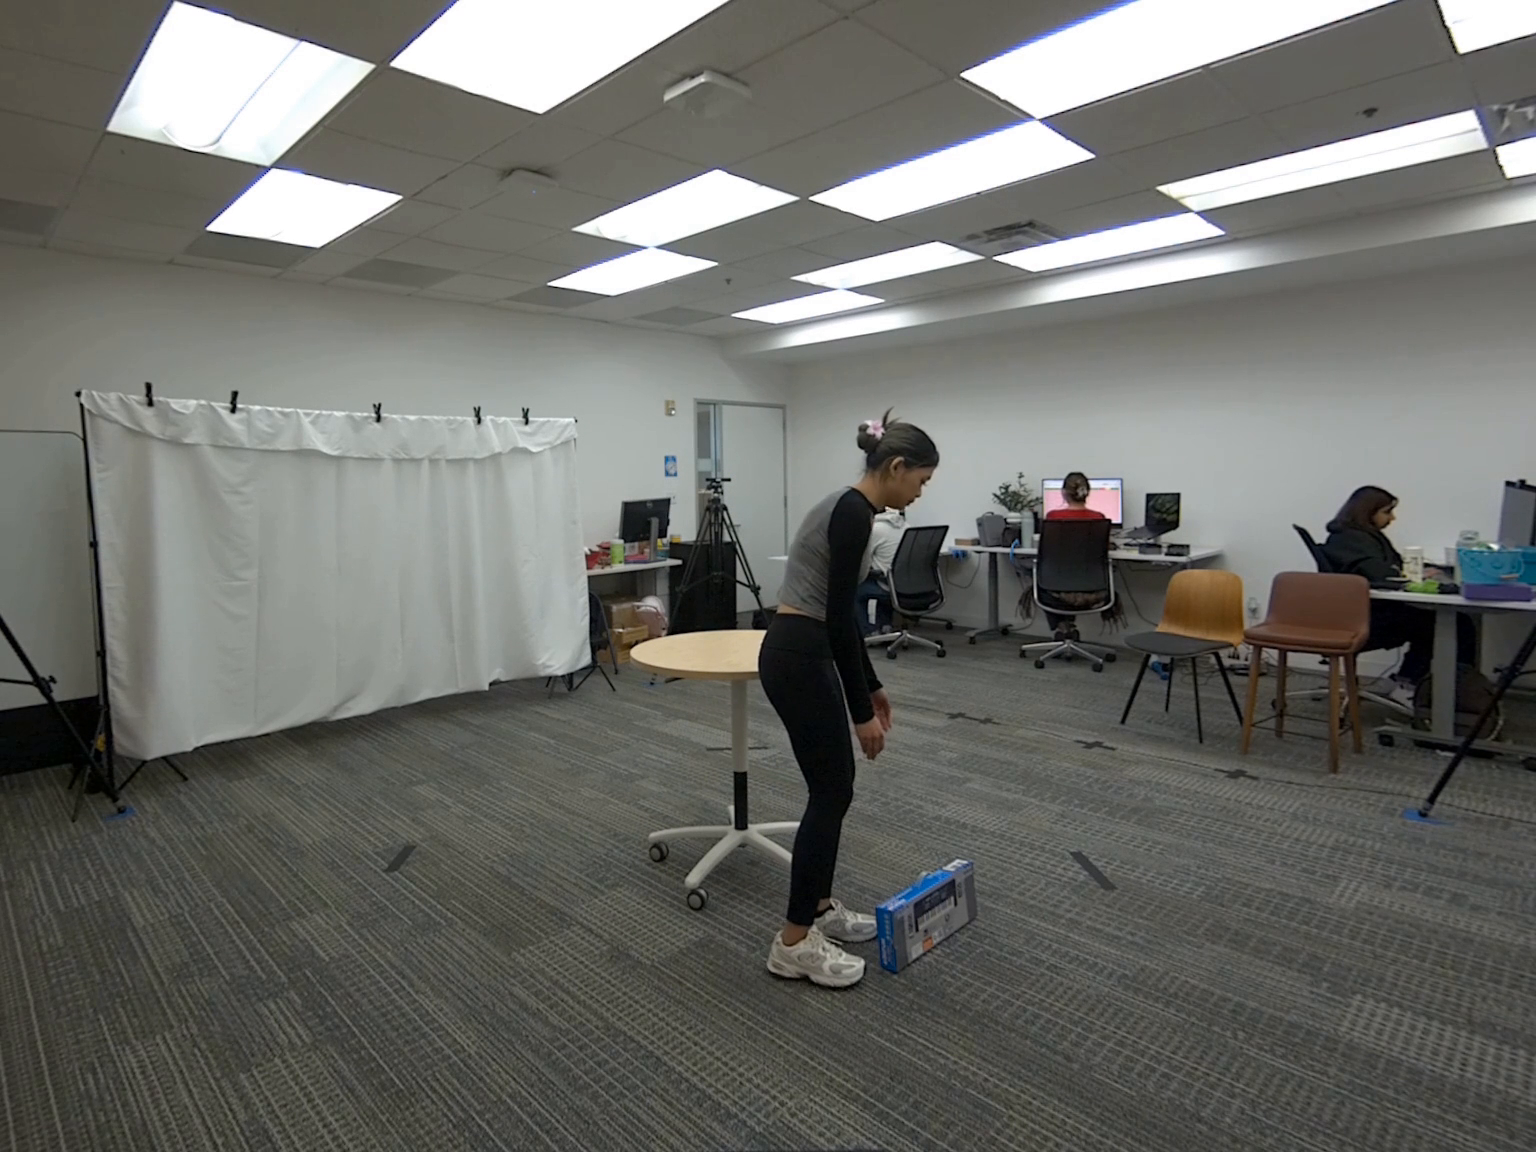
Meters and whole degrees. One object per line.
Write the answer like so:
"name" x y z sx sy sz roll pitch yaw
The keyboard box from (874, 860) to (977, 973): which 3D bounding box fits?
"keyboard box" 0.489 1.010 2.562 0.426 0.176 0.060 -8 1 -45
